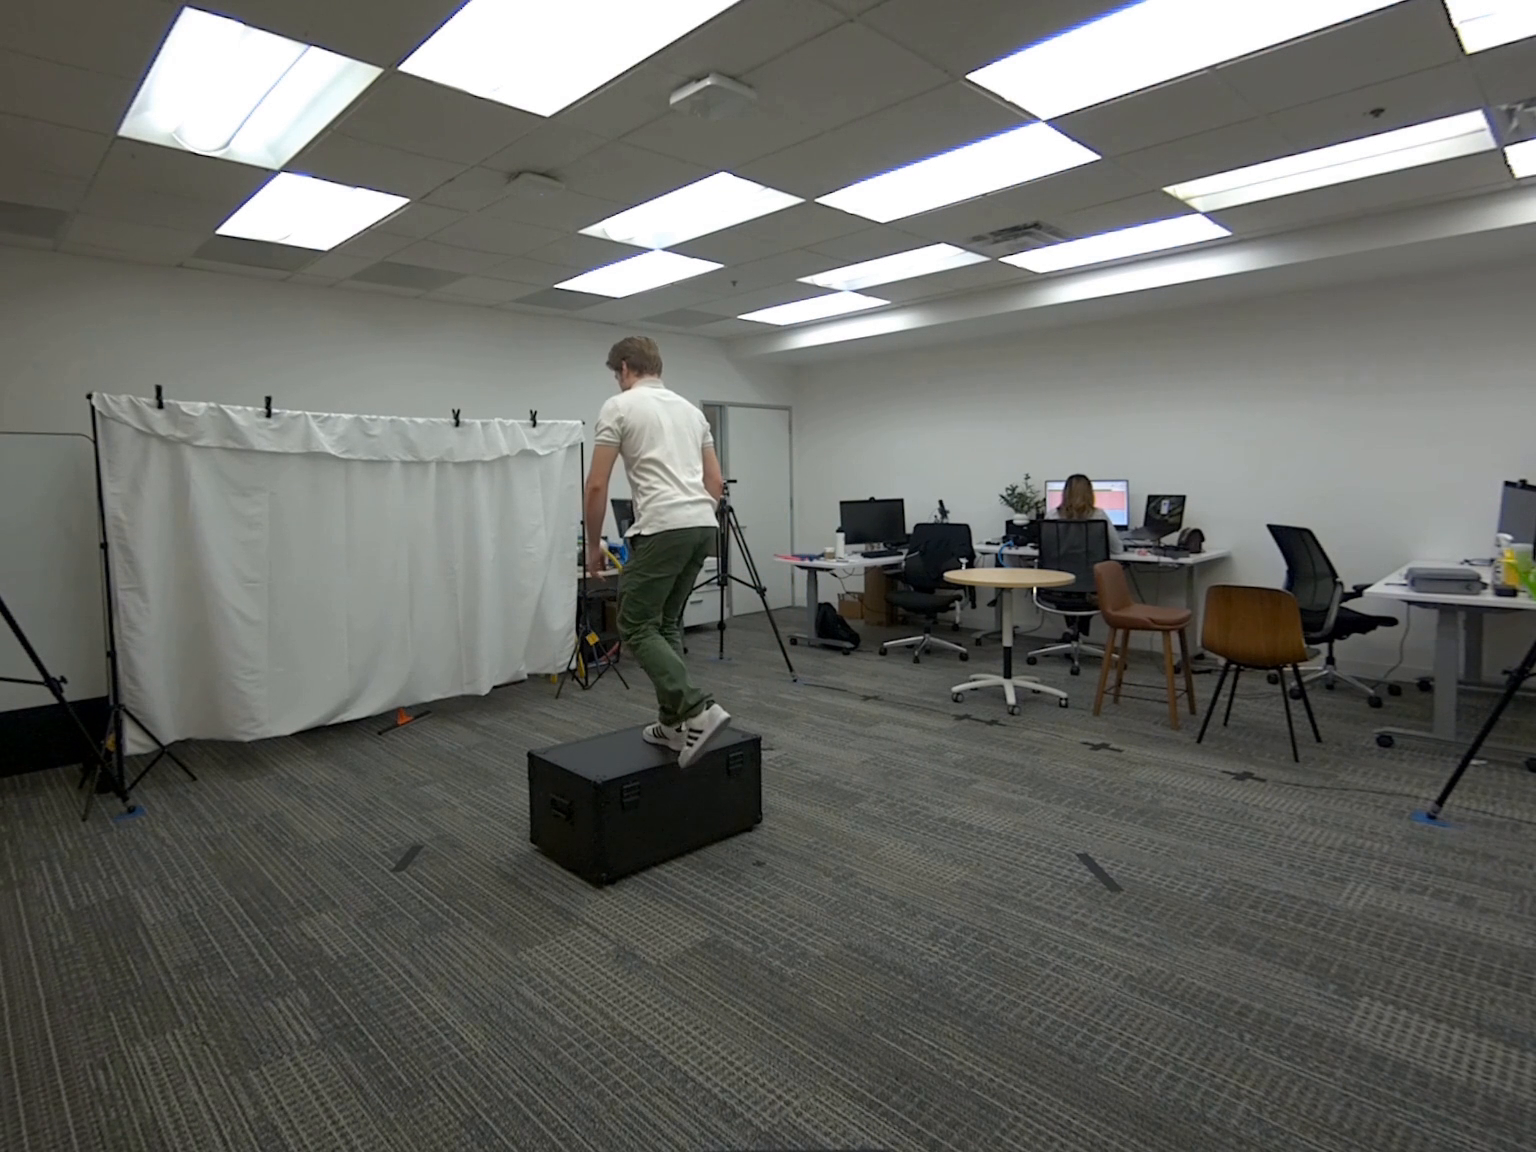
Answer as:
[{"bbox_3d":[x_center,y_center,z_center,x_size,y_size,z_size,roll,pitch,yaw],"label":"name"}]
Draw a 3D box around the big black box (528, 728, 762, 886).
[{"bbox_3d":[-0.444,0.839,3.363,0.839,0.394,0.537,-7,8,-43],"label":"big black box"}]
